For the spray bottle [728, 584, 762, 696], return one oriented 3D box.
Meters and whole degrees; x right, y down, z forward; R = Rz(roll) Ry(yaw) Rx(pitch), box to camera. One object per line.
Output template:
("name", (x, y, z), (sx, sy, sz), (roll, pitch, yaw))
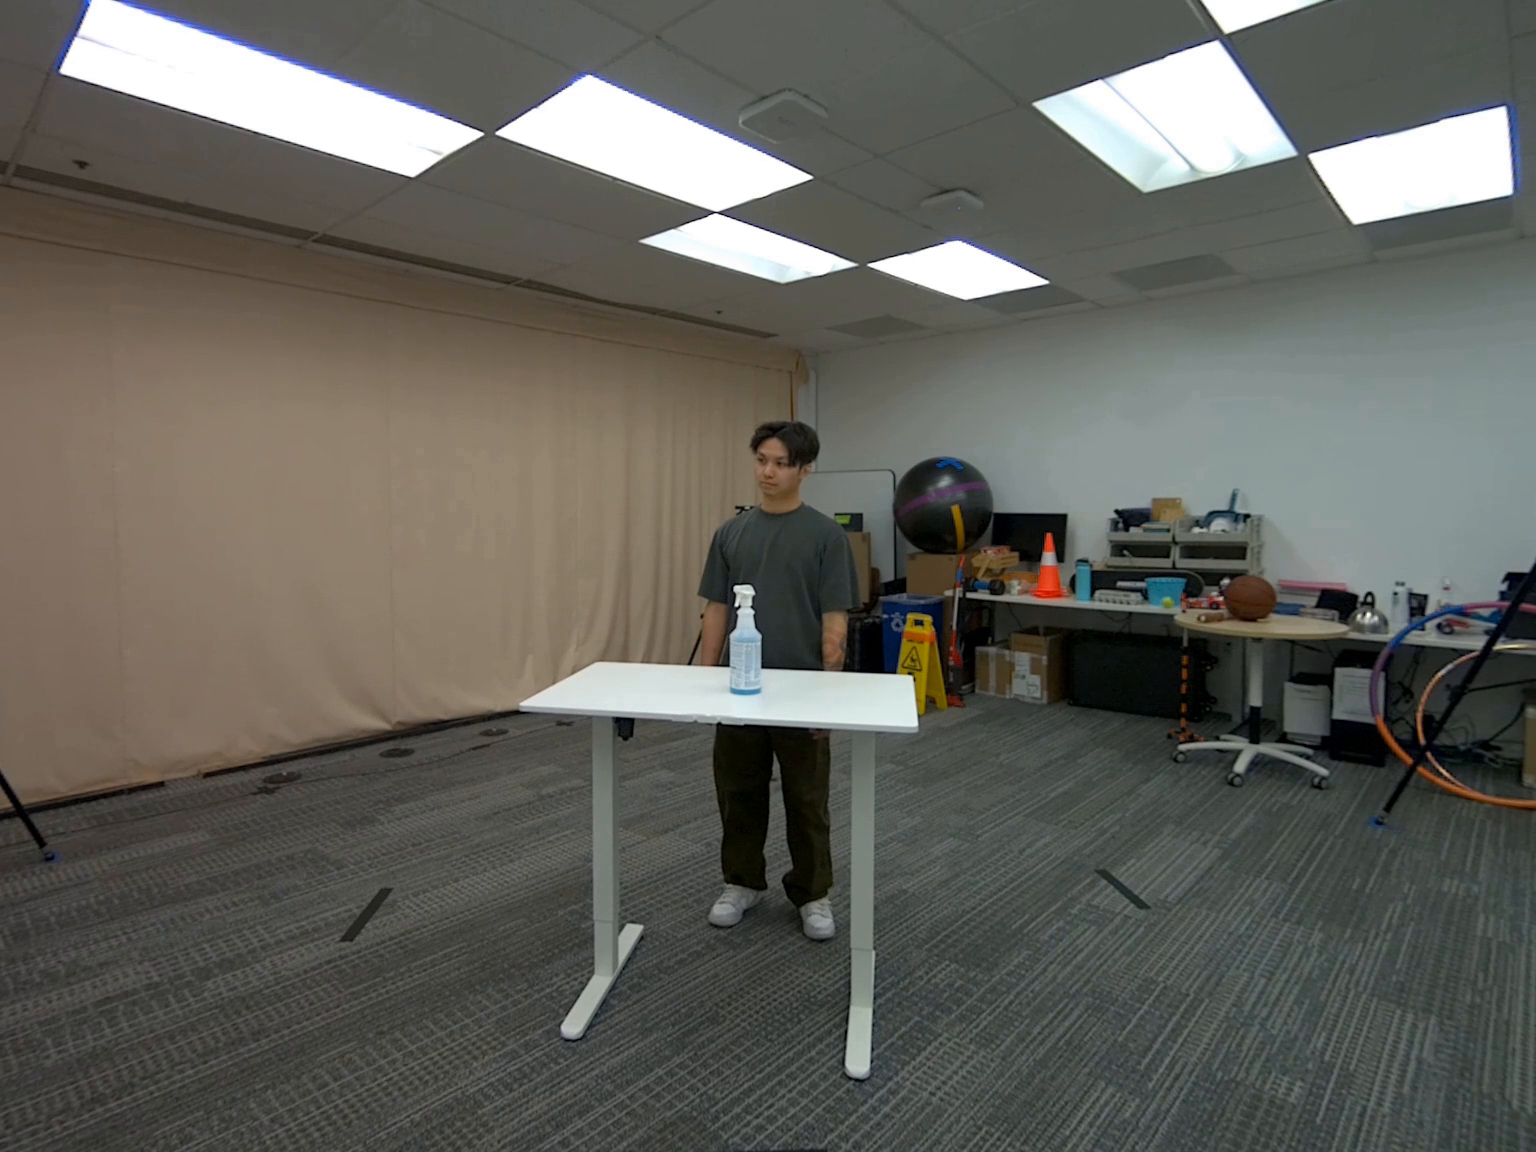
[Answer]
("spray bottle", (-0.057, 0.174, 2.308), (0.087, 0.296, 0.090), (-1, 5, -33))
